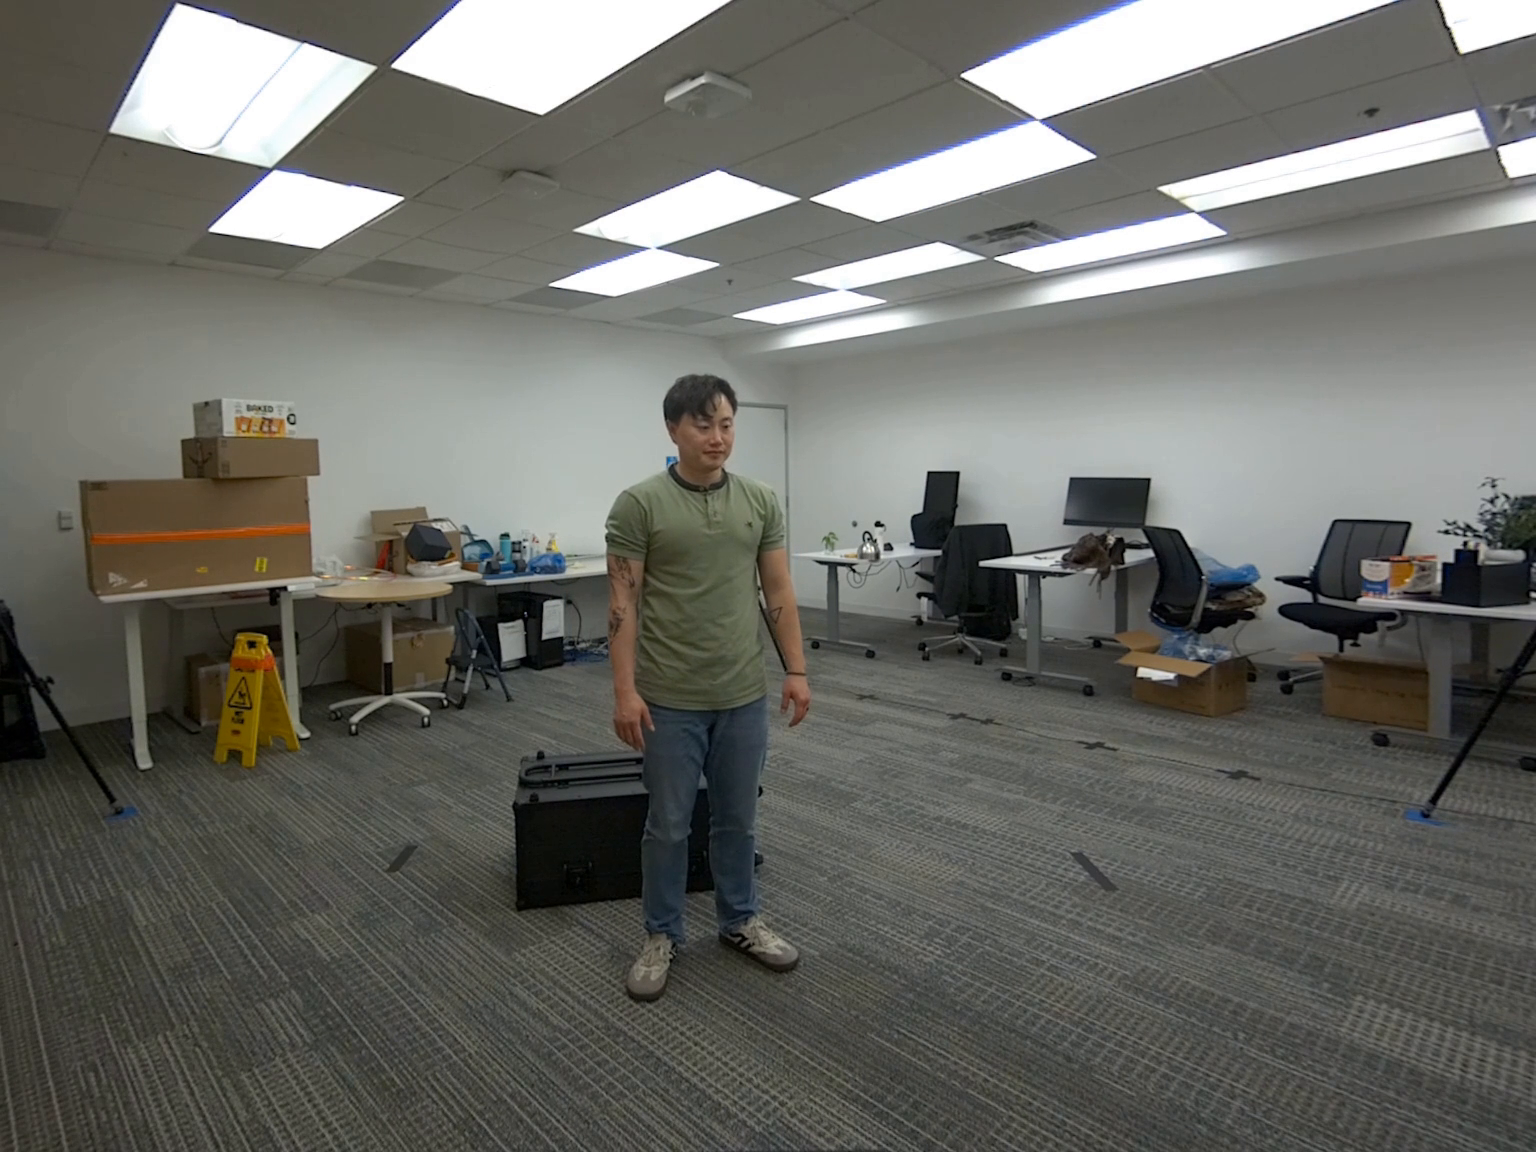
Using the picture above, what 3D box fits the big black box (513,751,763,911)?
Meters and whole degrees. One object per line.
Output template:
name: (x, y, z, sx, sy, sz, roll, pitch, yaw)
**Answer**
big black box: (-0.466, 0.862, 3.088, 0.852, 0.394, 0.529, -1, 6, -11)
